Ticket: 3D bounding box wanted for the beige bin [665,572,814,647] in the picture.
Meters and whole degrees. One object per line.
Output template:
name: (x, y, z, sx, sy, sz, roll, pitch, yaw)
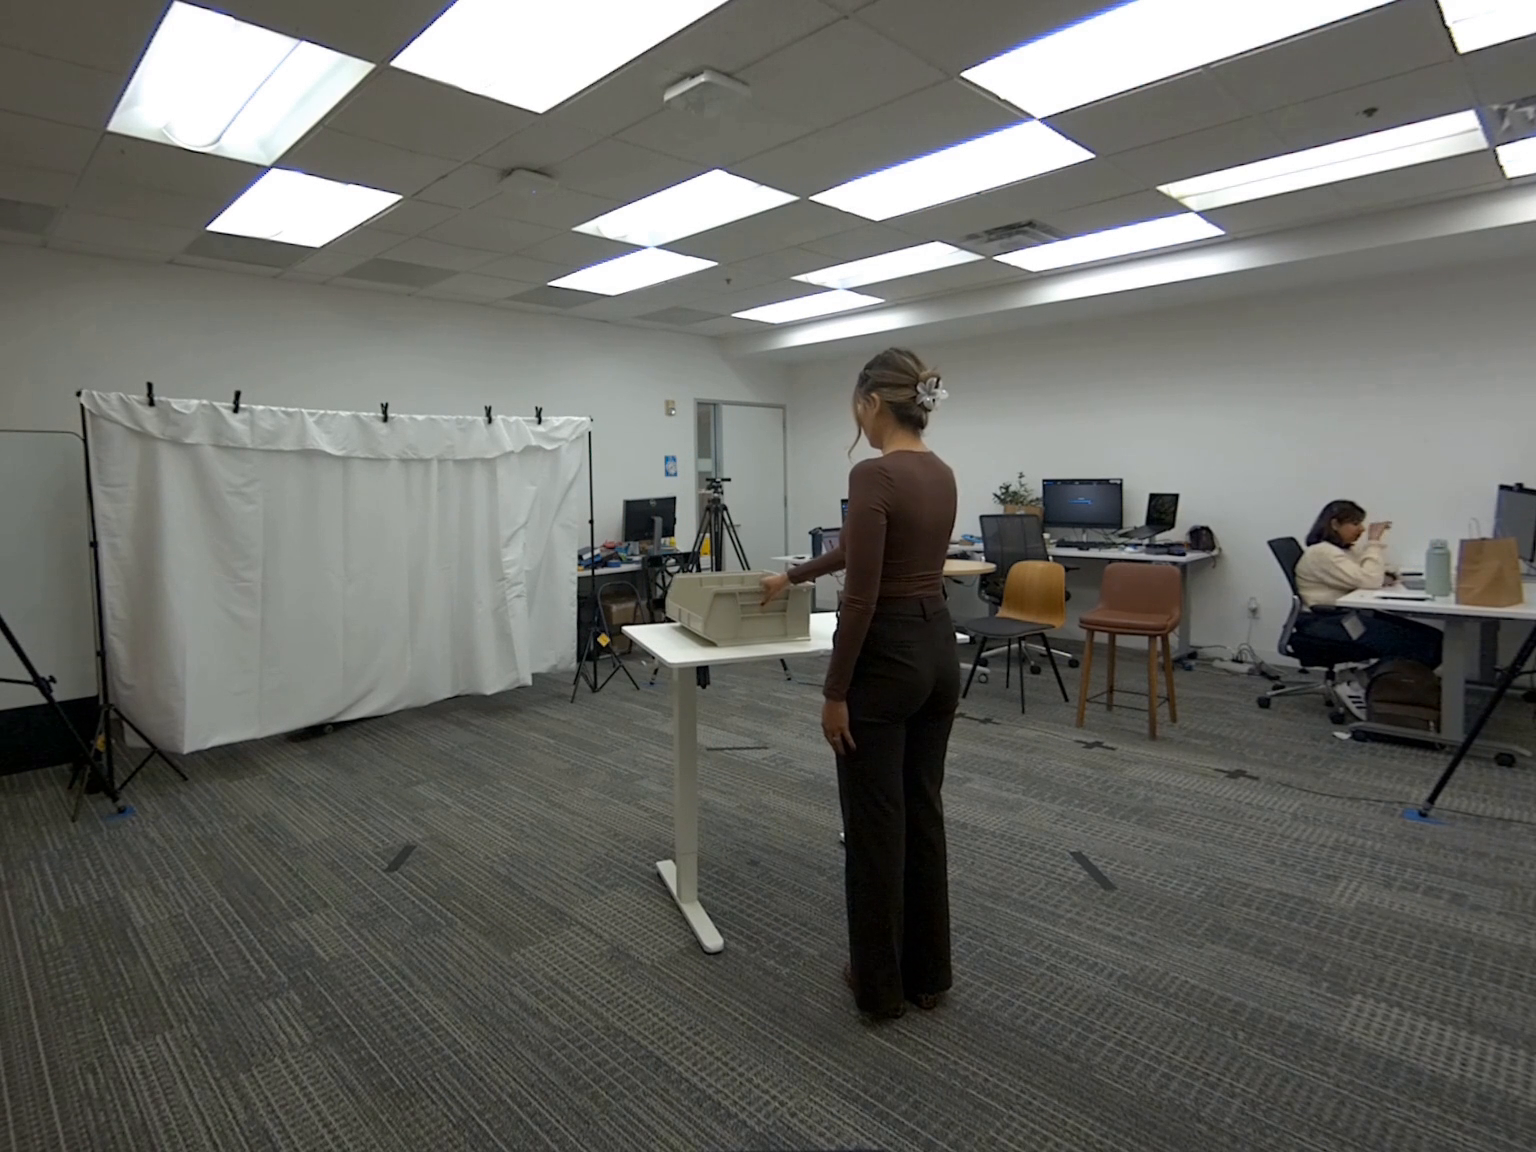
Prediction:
beige bin: (-0.098, 0.100, 2.826, 0.370, 0.188, 0.432, -1, 5, -22)
